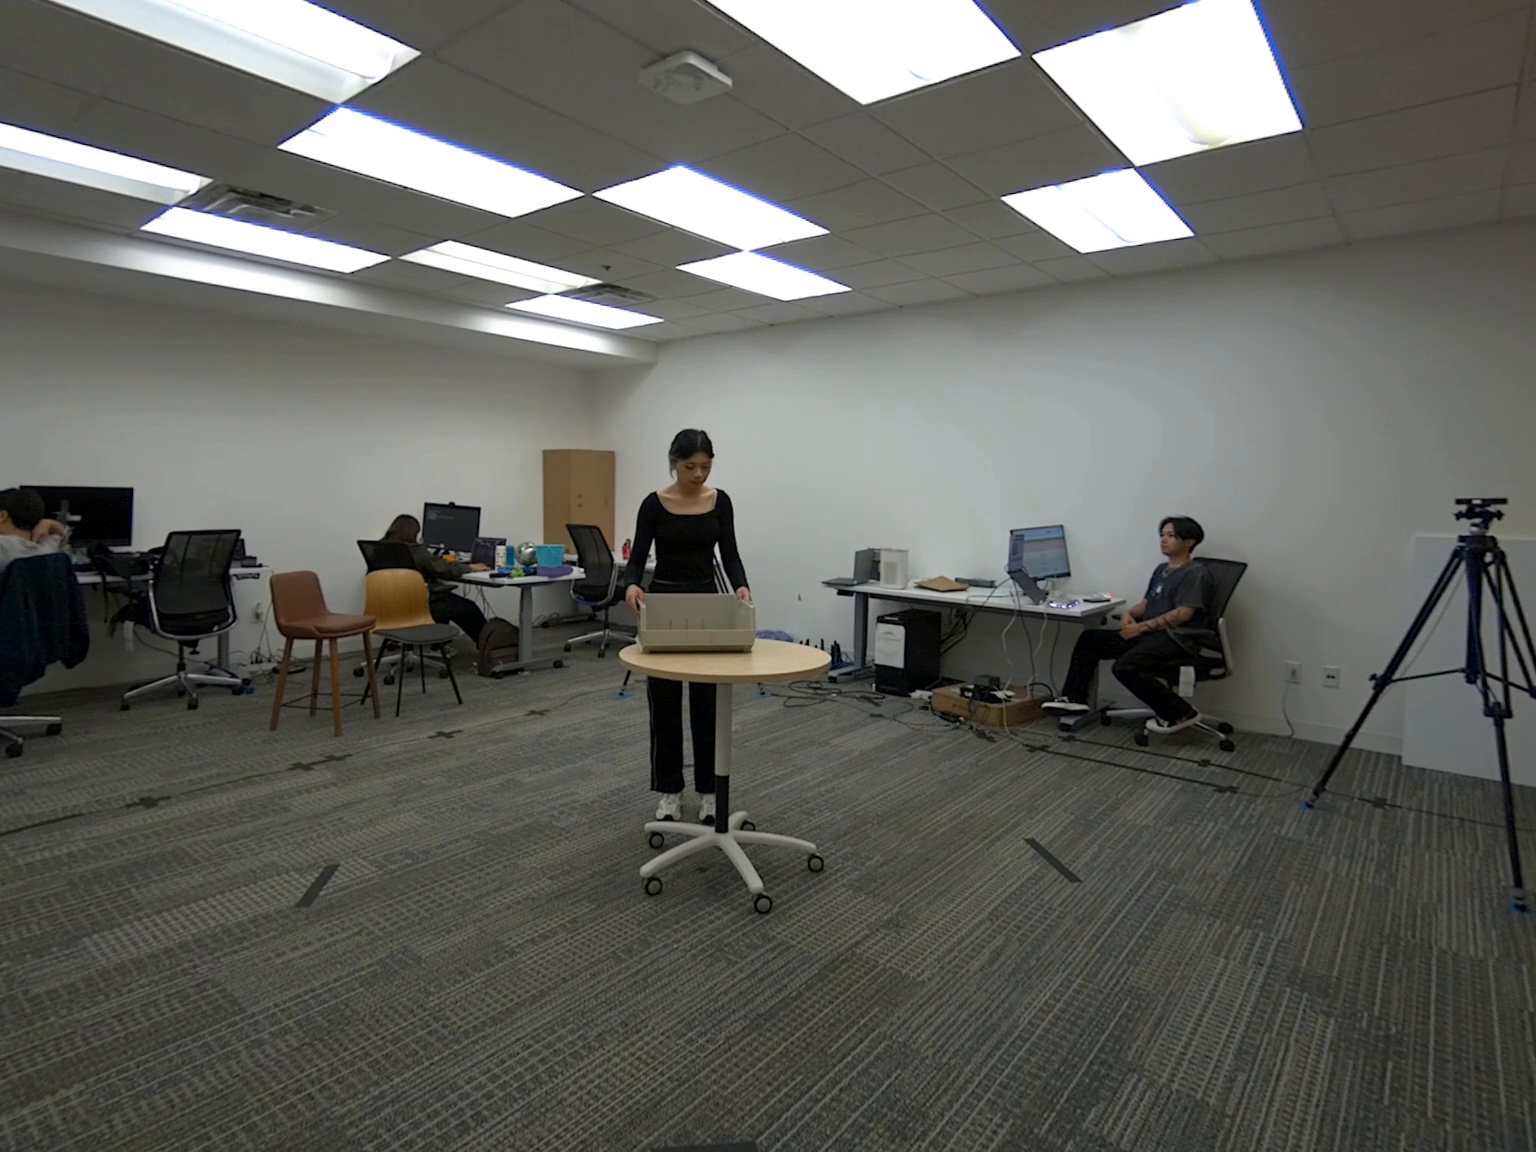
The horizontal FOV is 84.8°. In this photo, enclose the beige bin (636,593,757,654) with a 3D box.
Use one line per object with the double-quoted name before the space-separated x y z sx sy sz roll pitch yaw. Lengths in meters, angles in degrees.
"beige bin" -0.291 0.175 3.222 0.418 0.188 0.382 -1 5 -10
